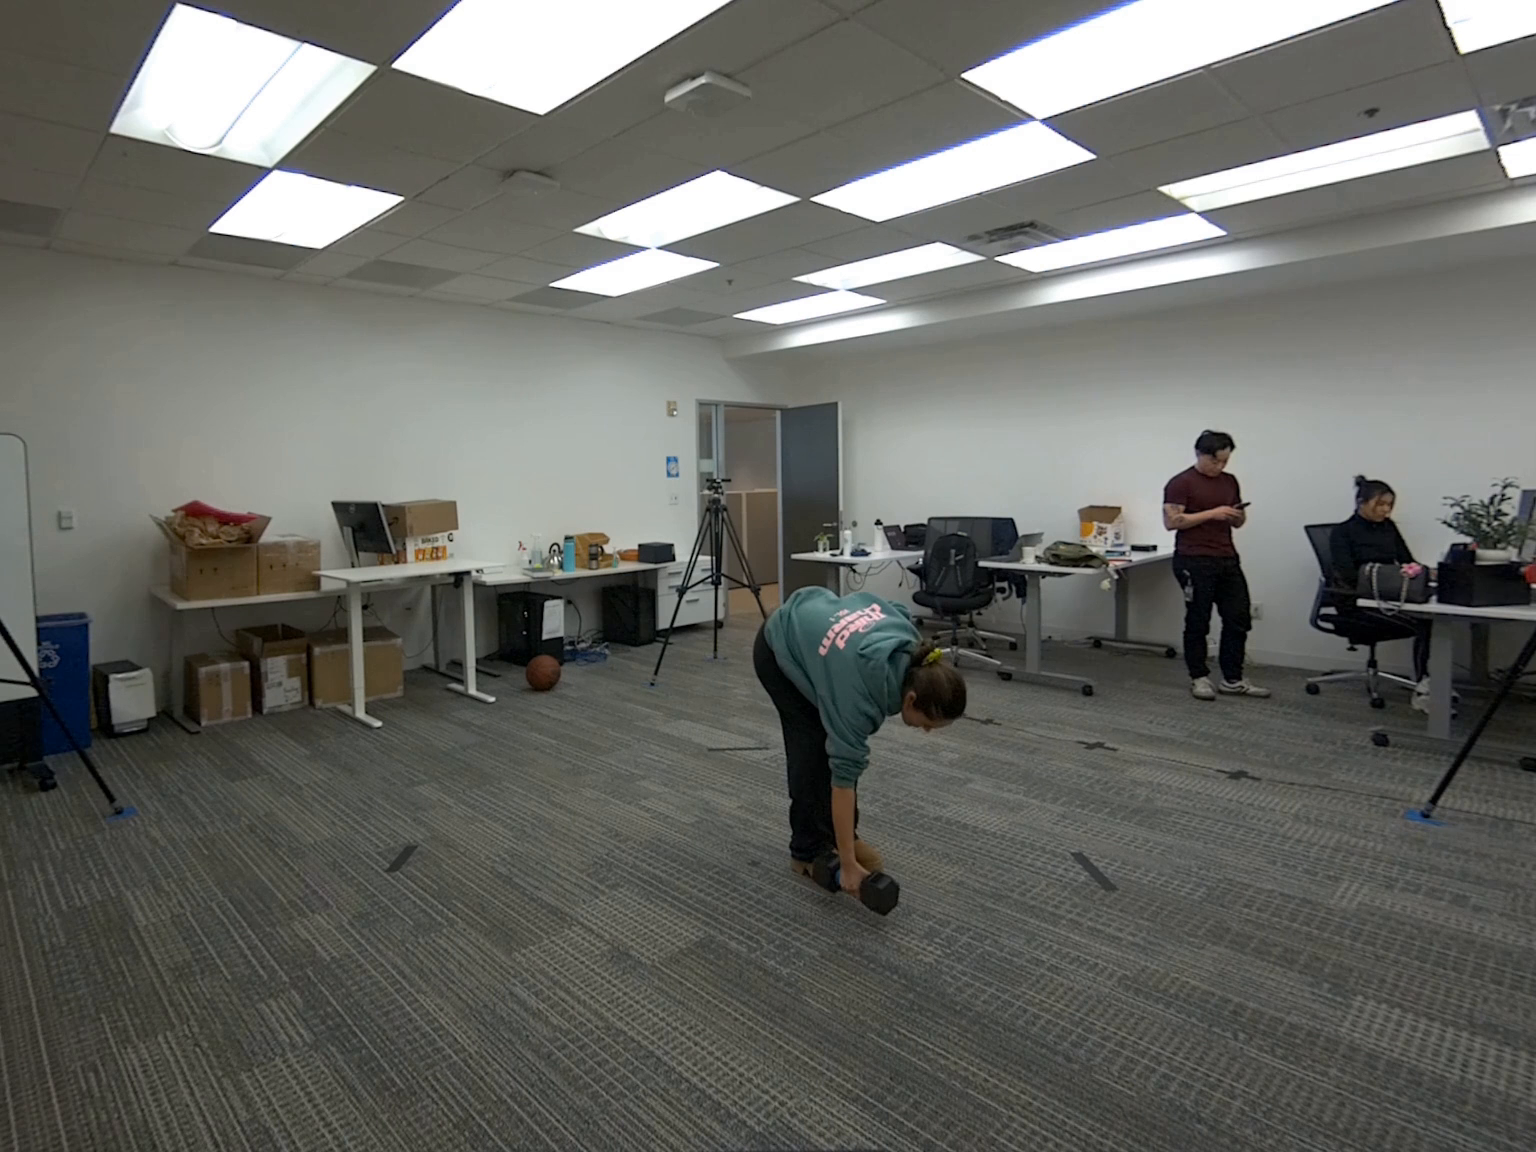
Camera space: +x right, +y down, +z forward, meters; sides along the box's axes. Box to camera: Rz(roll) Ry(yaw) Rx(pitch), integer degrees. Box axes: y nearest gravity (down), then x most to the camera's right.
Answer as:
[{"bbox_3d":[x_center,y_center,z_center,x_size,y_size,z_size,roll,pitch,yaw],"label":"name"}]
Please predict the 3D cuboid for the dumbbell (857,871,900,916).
[{"bbox_3d":[0.280,0.973,2.727,0.302,0.109,0.119,3,-38,50],"label":"dumbbell"}]
